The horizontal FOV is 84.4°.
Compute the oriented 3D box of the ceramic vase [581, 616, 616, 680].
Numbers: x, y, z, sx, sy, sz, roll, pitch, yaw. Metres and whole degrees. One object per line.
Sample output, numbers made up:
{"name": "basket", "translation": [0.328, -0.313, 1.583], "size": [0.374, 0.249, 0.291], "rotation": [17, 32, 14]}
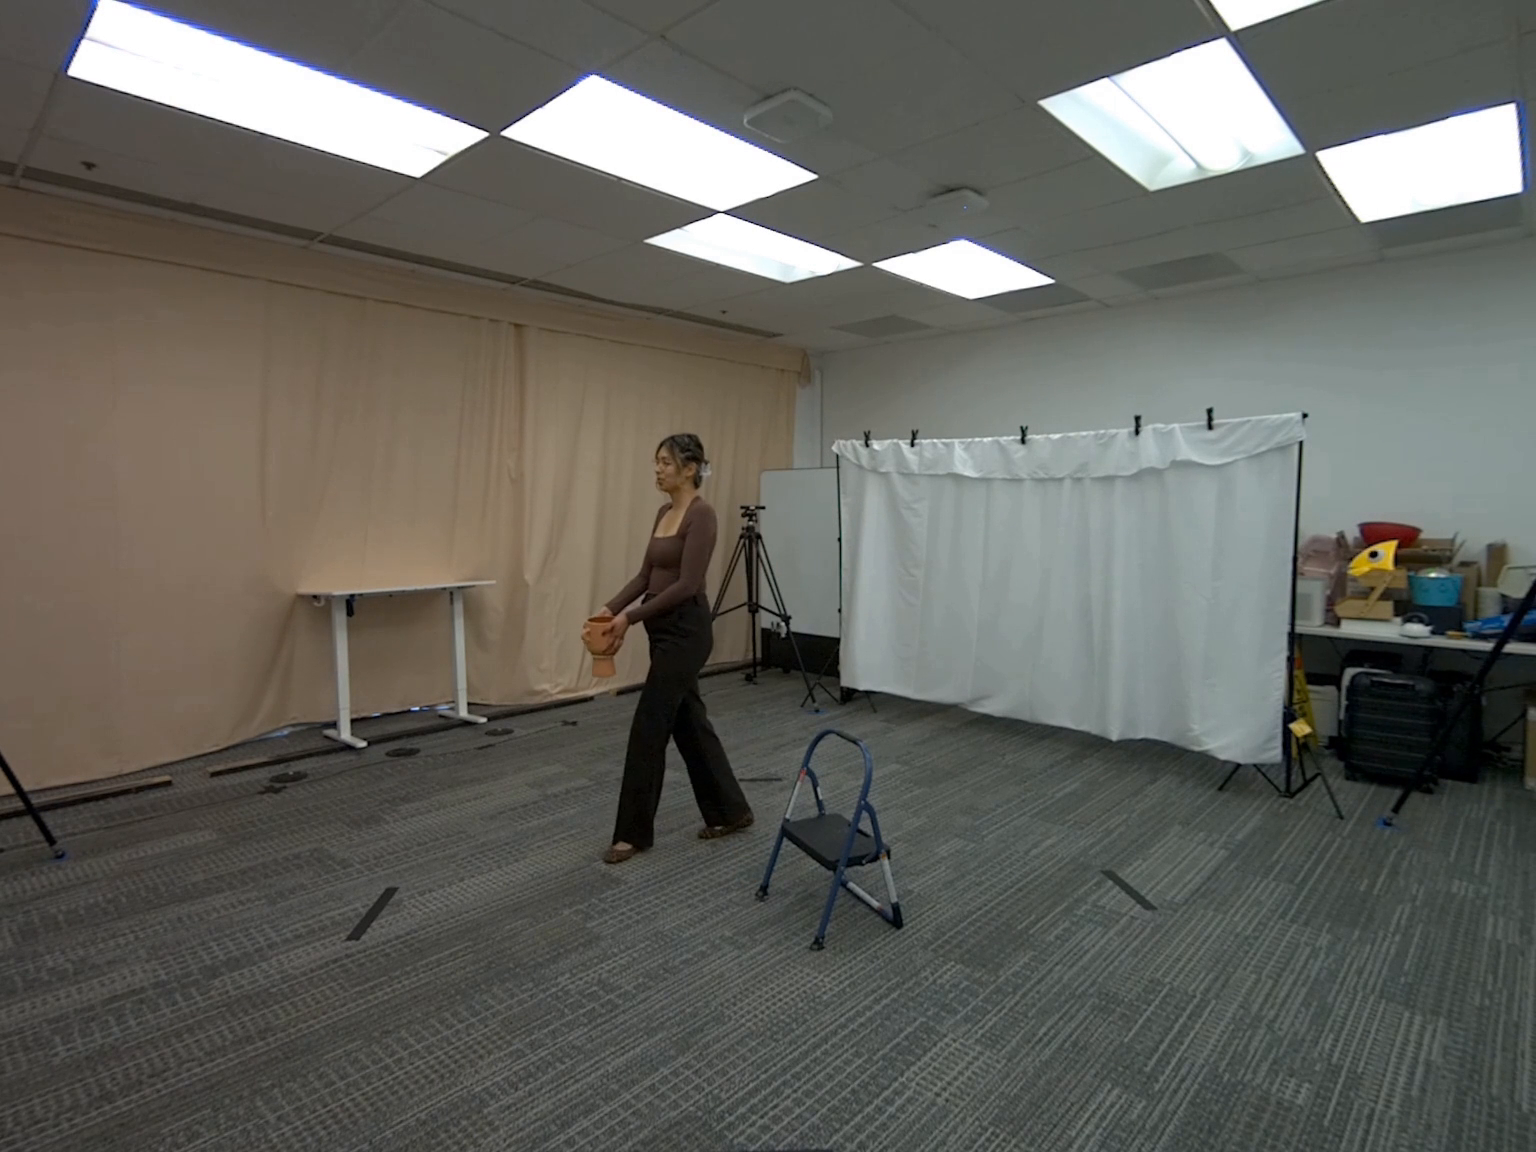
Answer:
{"name": "ceramic vase", "translation": [-0.645, 0.278, 3.297], "size": [0.157, 0.219, 0.136], "rotation": [0, 6, -9]}
